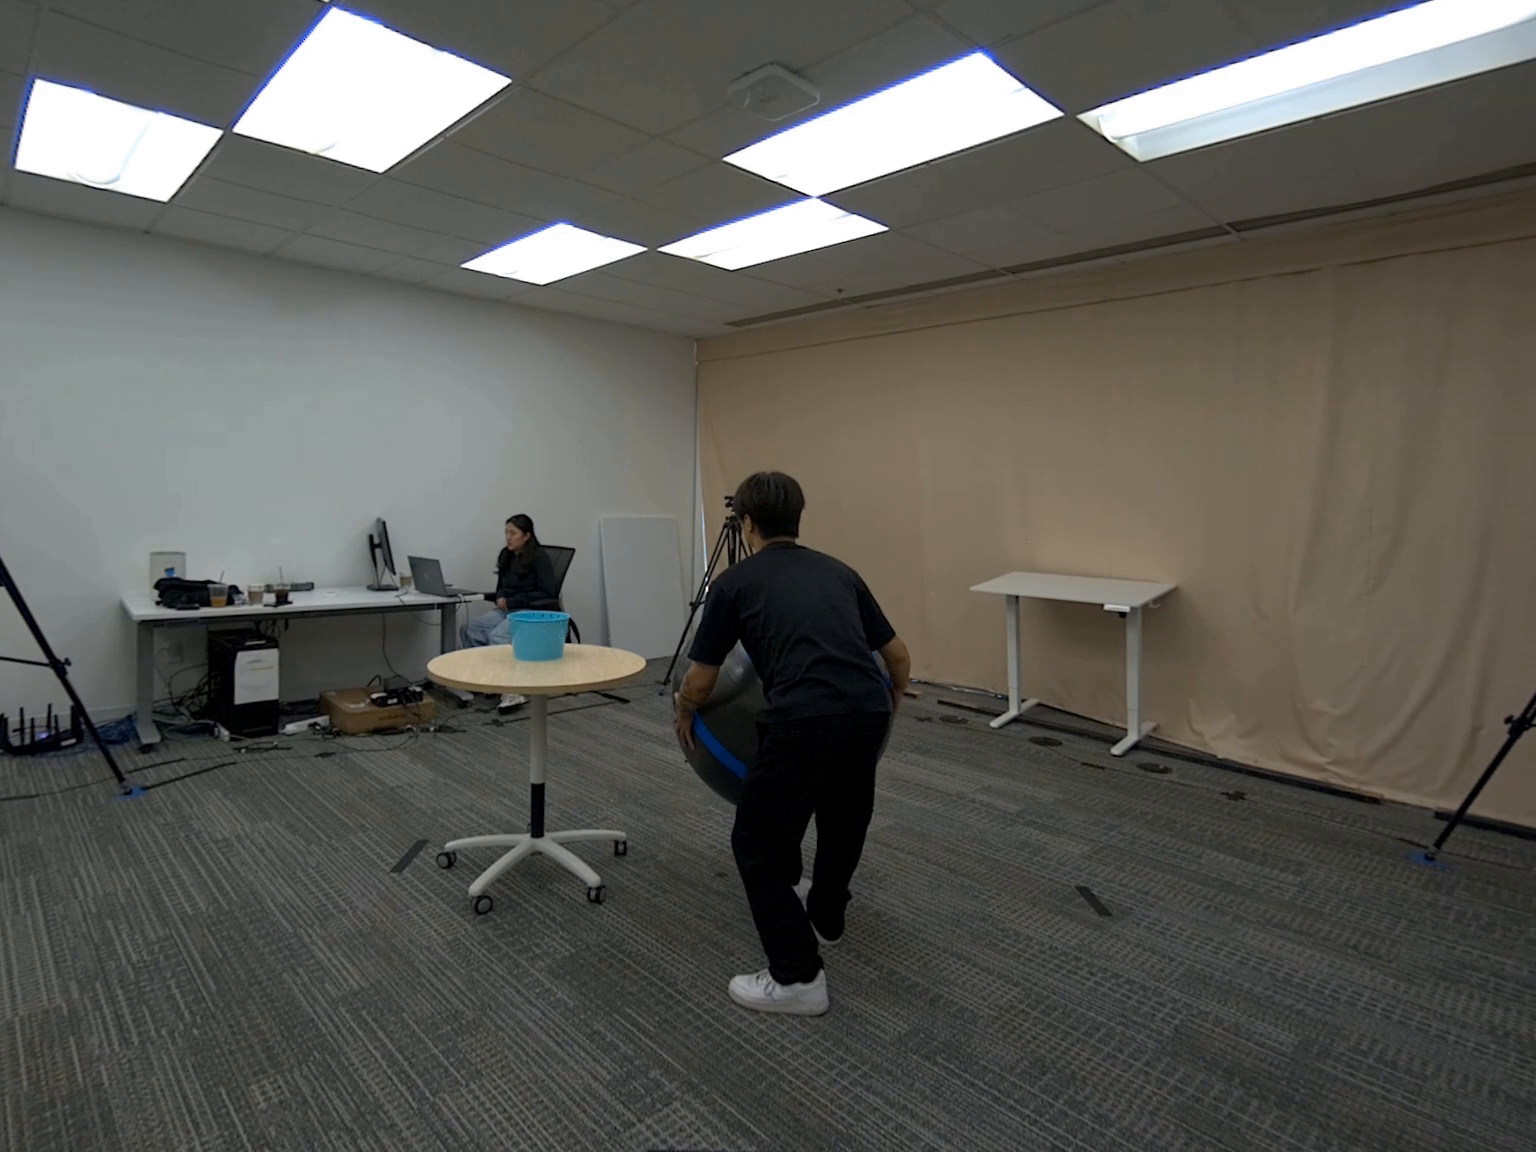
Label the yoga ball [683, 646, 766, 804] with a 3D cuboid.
[{"bbox_3d":[0.055,0.441,2.893,0.757,0.756,0.761,1,4,-1],"label":"yoga ball"}]
